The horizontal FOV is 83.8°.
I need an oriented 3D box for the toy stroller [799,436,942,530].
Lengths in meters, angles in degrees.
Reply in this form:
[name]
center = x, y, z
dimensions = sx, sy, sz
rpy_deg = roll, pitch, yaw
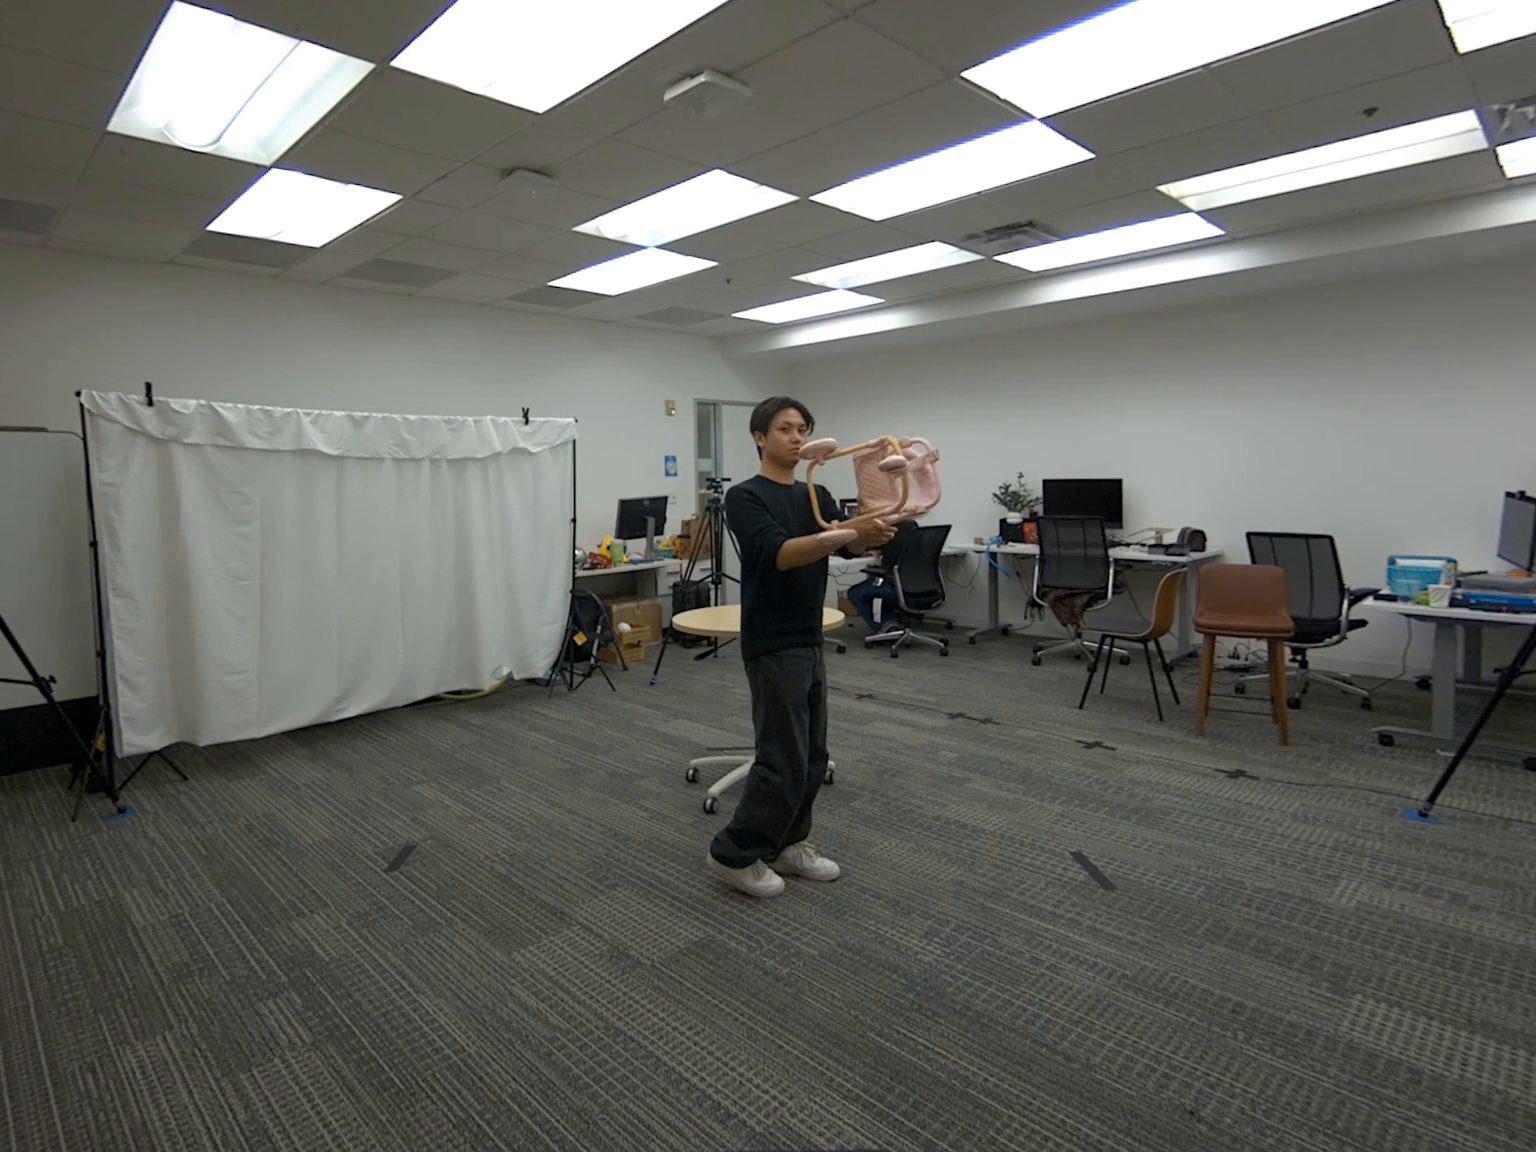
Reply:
[toy stroller]
center = 0.330, -0.265, 2.392
dimensions = 0.347, 0.284, 0.521
rpy_deg = -21, -10, 33
